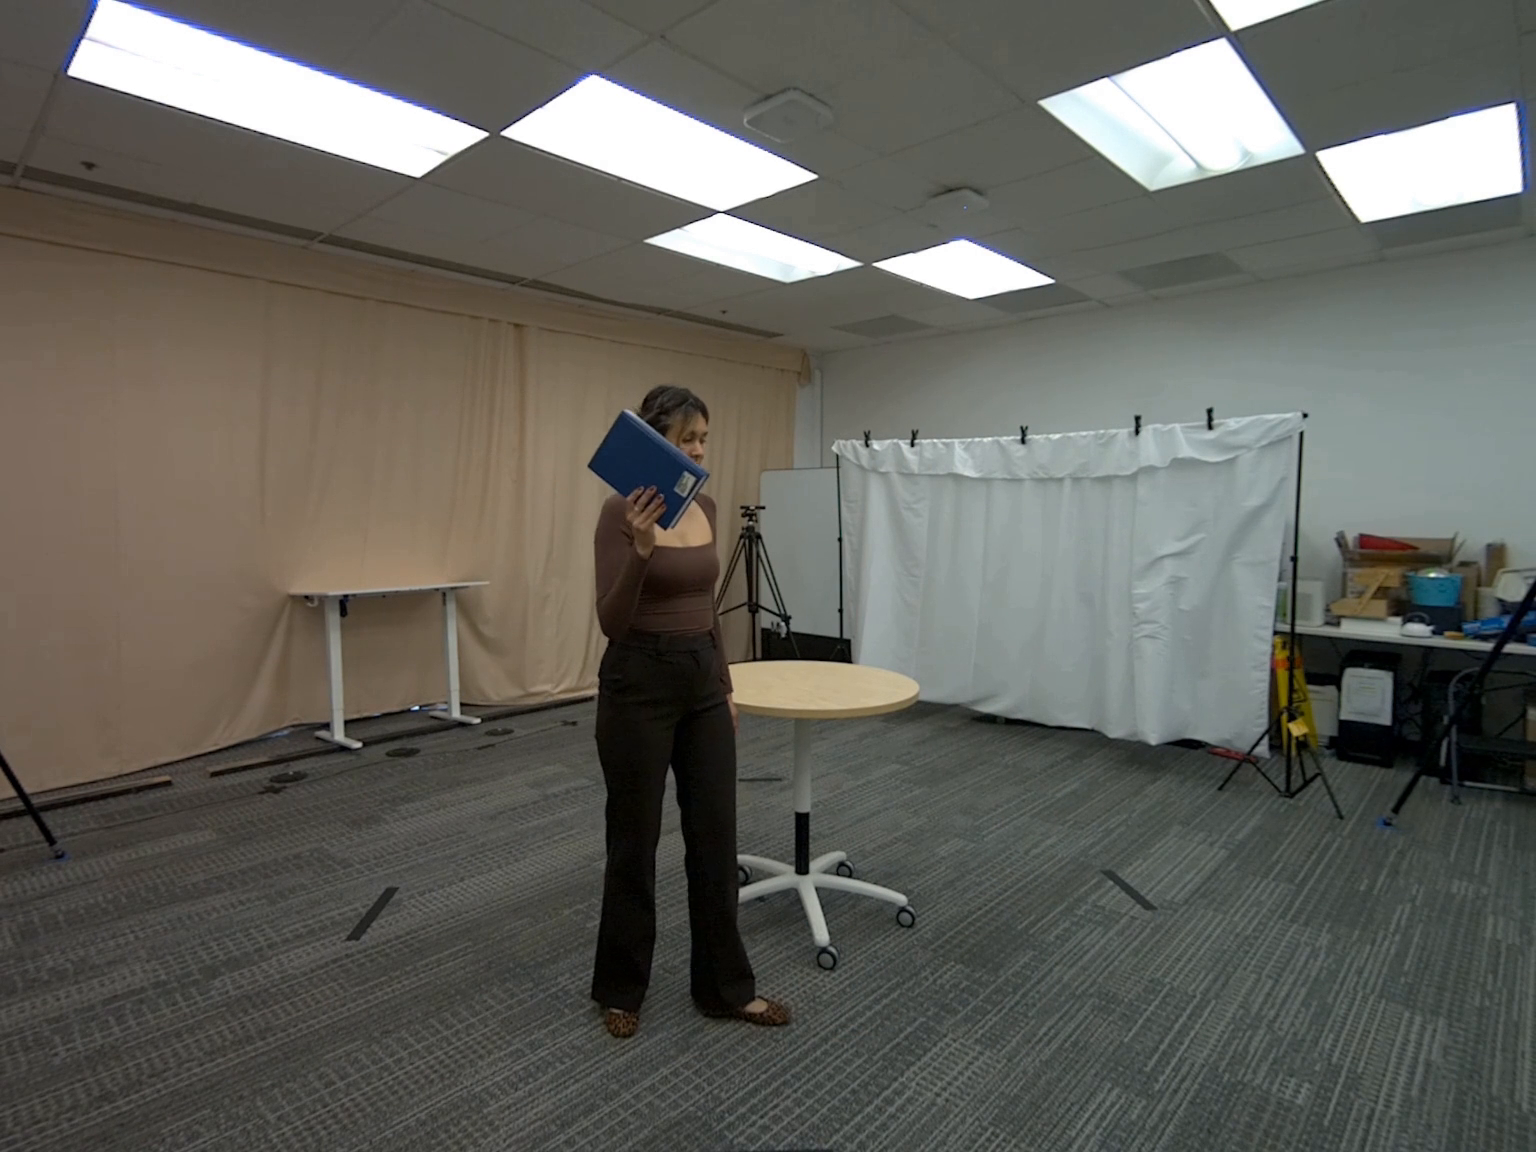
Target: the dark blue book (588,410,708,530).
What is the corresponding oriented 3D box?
[{"bbox_3d":[-0.270,-0.242,1.925,0.248,0.164,0.044,39,18,8],"label":"dark blue book"}]
